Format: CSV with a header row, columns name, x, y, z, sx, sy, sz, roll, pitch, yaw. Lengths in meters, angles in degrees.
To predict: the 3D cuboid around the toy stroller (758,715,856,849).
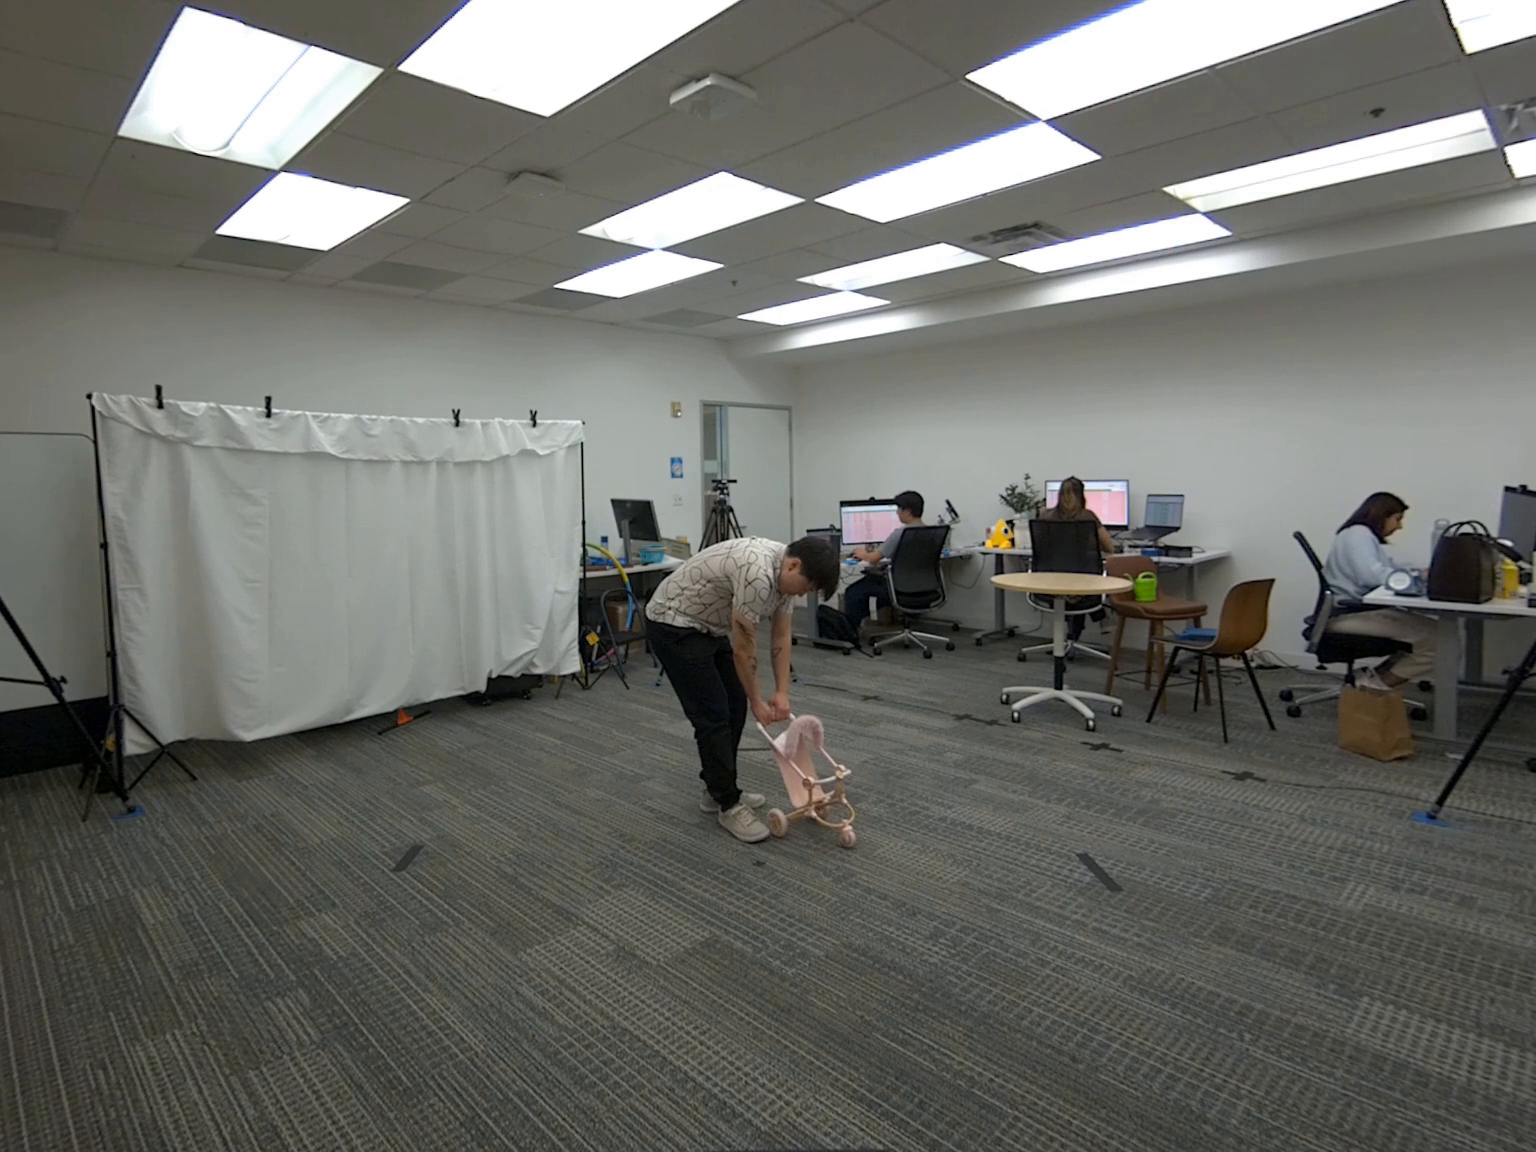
name,x,y,z,sx,sy,sz,roll,pitch,yaw
toy stroller,0.160,0.787,3.369,0.274,0.540,0.347,-4,-11,-39
